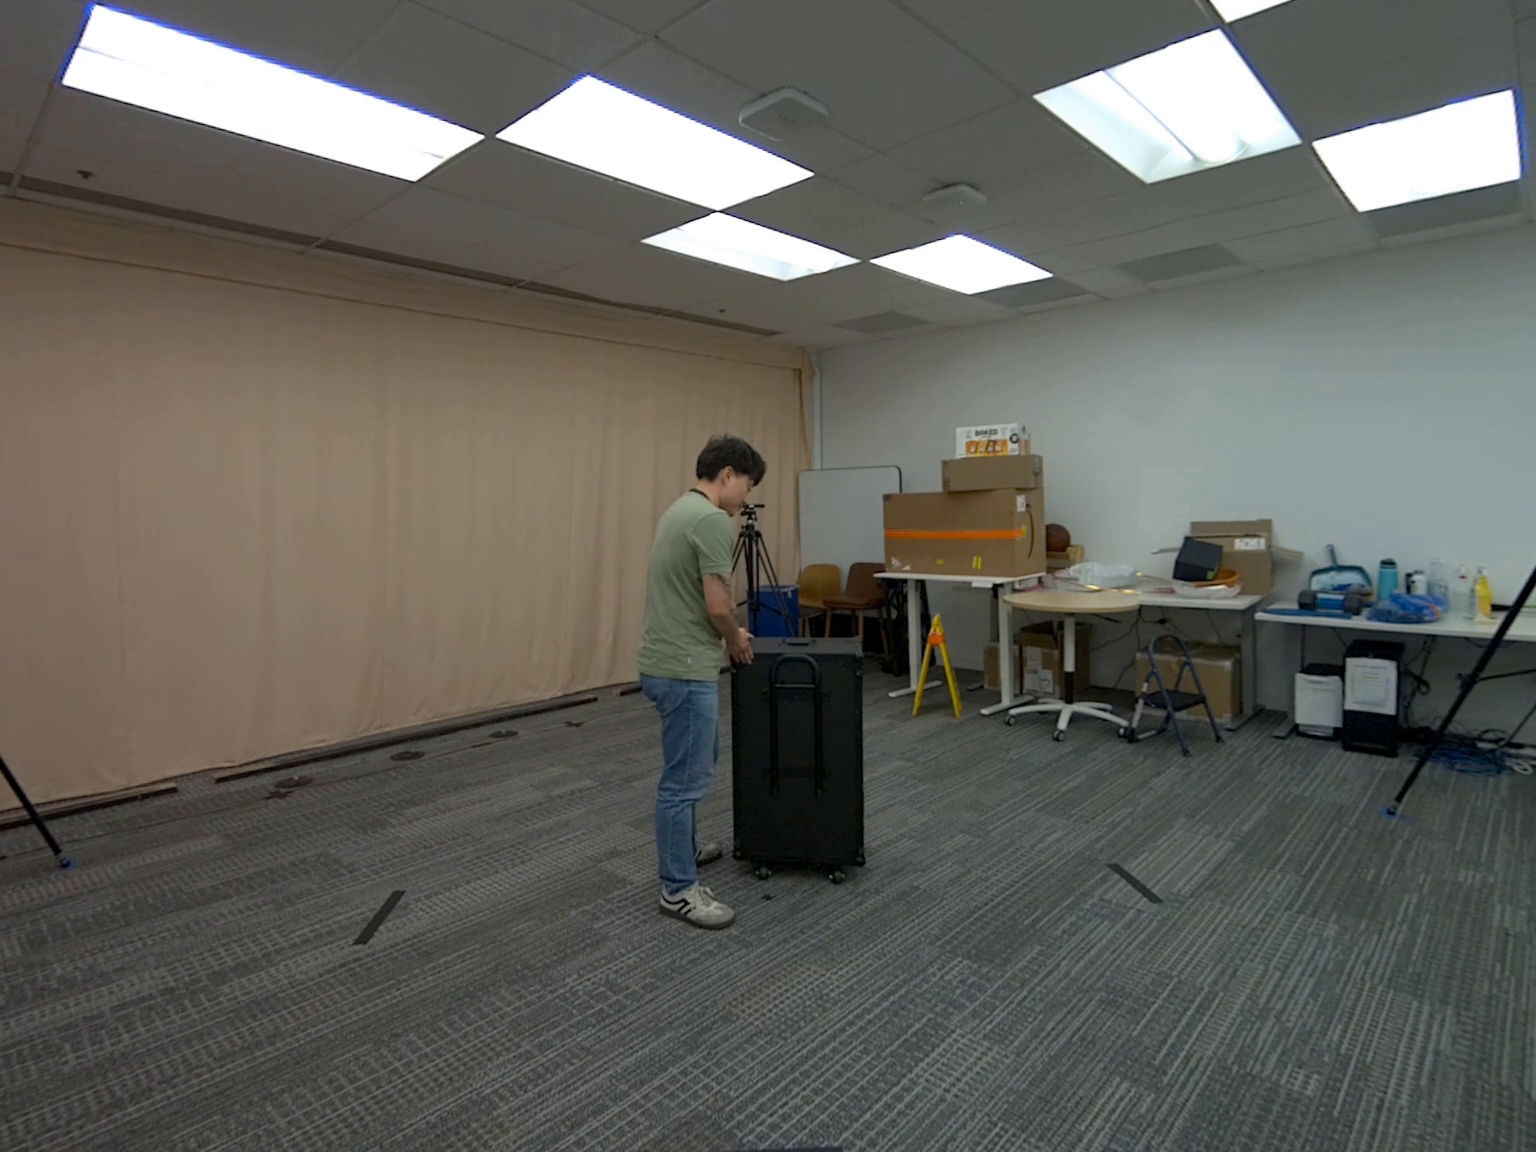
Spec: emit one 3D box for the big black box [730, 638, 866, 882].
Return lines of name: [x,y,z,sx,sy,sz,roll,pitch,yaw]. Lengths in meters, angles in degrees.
big black box: [0.132,0.689,3.235,0.527,0.859,0.393,0,4,9]
